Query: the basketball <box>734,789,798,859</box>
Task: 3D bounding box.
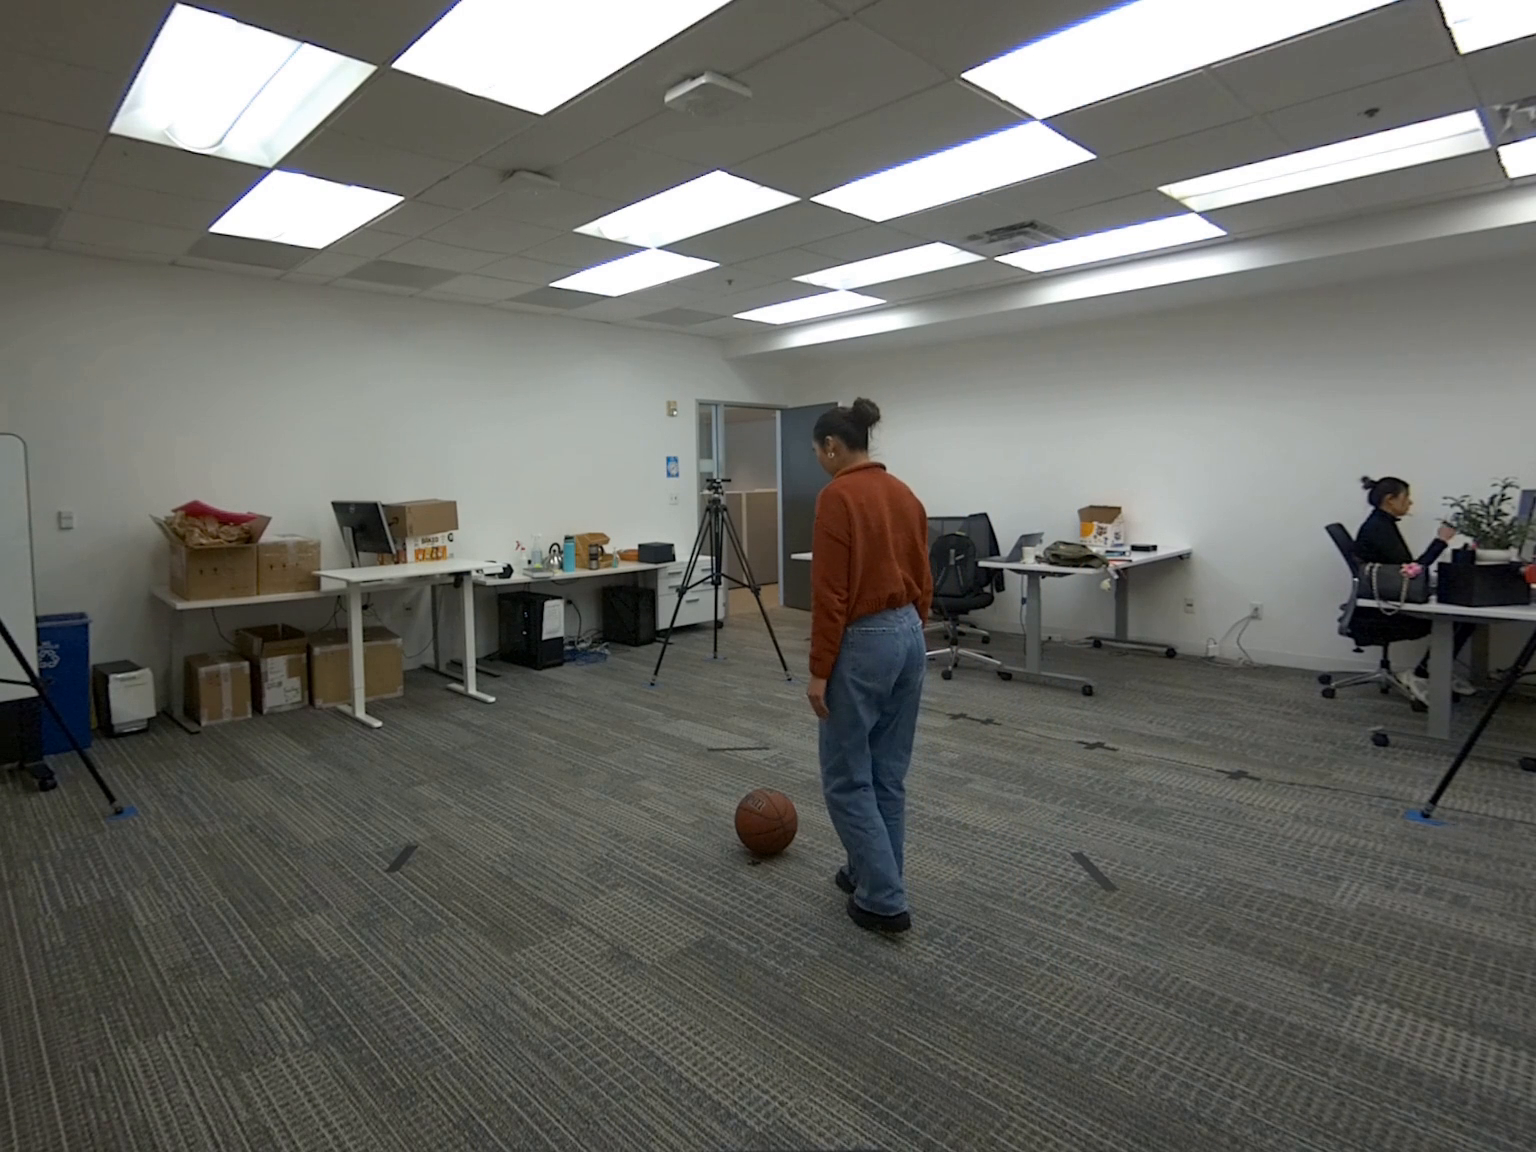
[{"bbox_3d":[-0.003,0.916,3.186,0.236,0.235,0.237,-1,5,-2],"label":"basketball"}]
